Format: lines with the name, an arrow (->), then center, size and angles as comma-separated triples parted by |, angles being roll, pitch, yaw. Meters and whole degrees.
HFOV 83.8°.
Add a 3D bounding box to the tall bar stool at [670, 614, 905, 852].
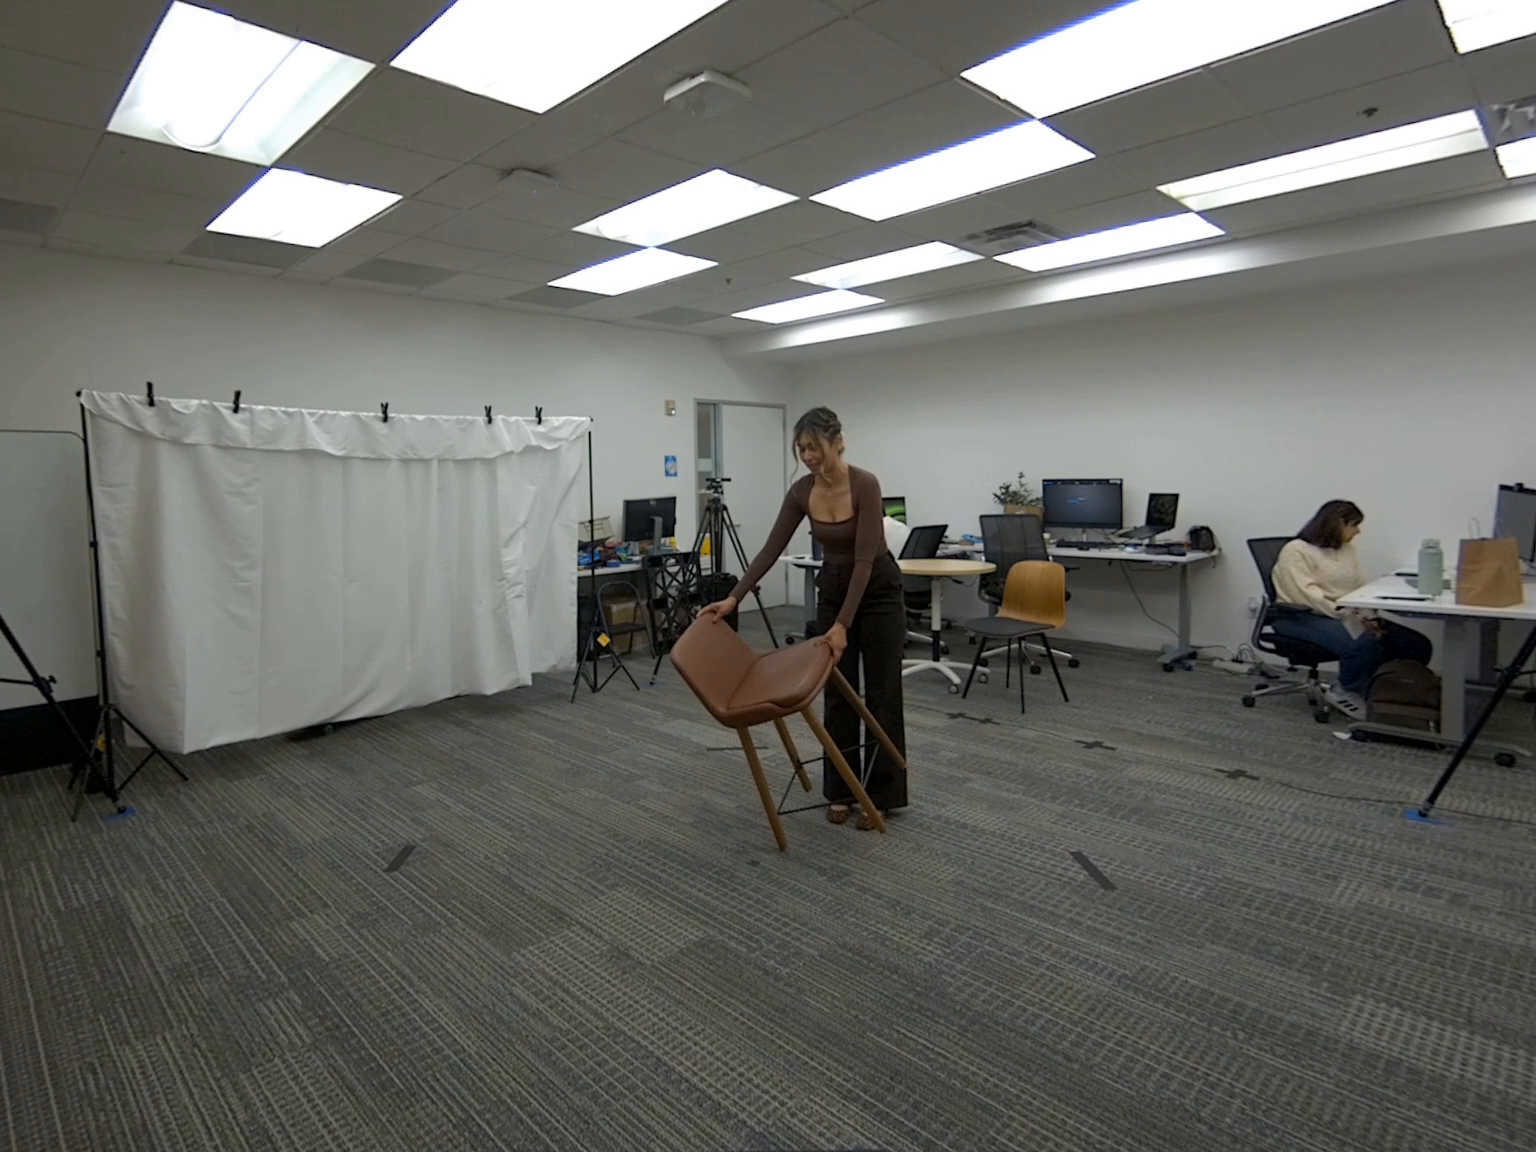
tall bar stool -> 0.083, 0.519, 3.183 | 0.474, 0.880, 0.456 | -24, 11, 30
